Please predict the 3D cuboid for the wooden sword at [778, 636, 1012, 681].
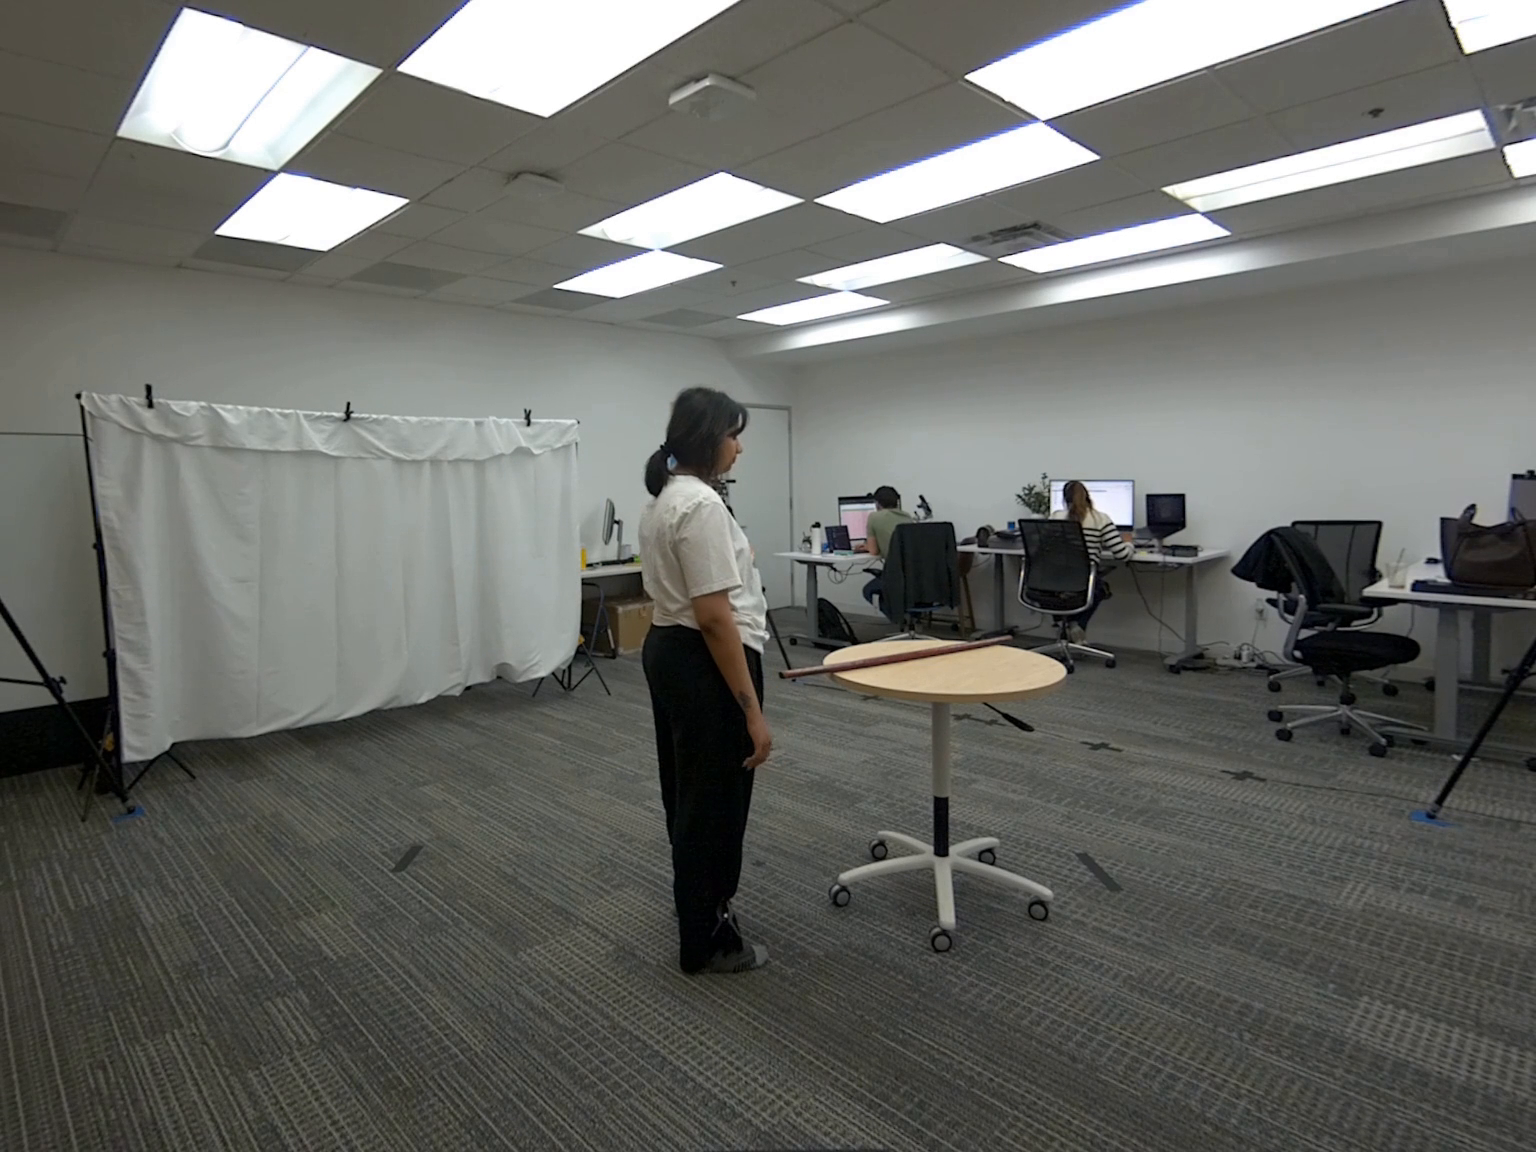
[{"bbox_3d":[0.456,0.263,2.905,1.003,0.050,0.025,-6,18,-27],"label":"wooden sword"}]
